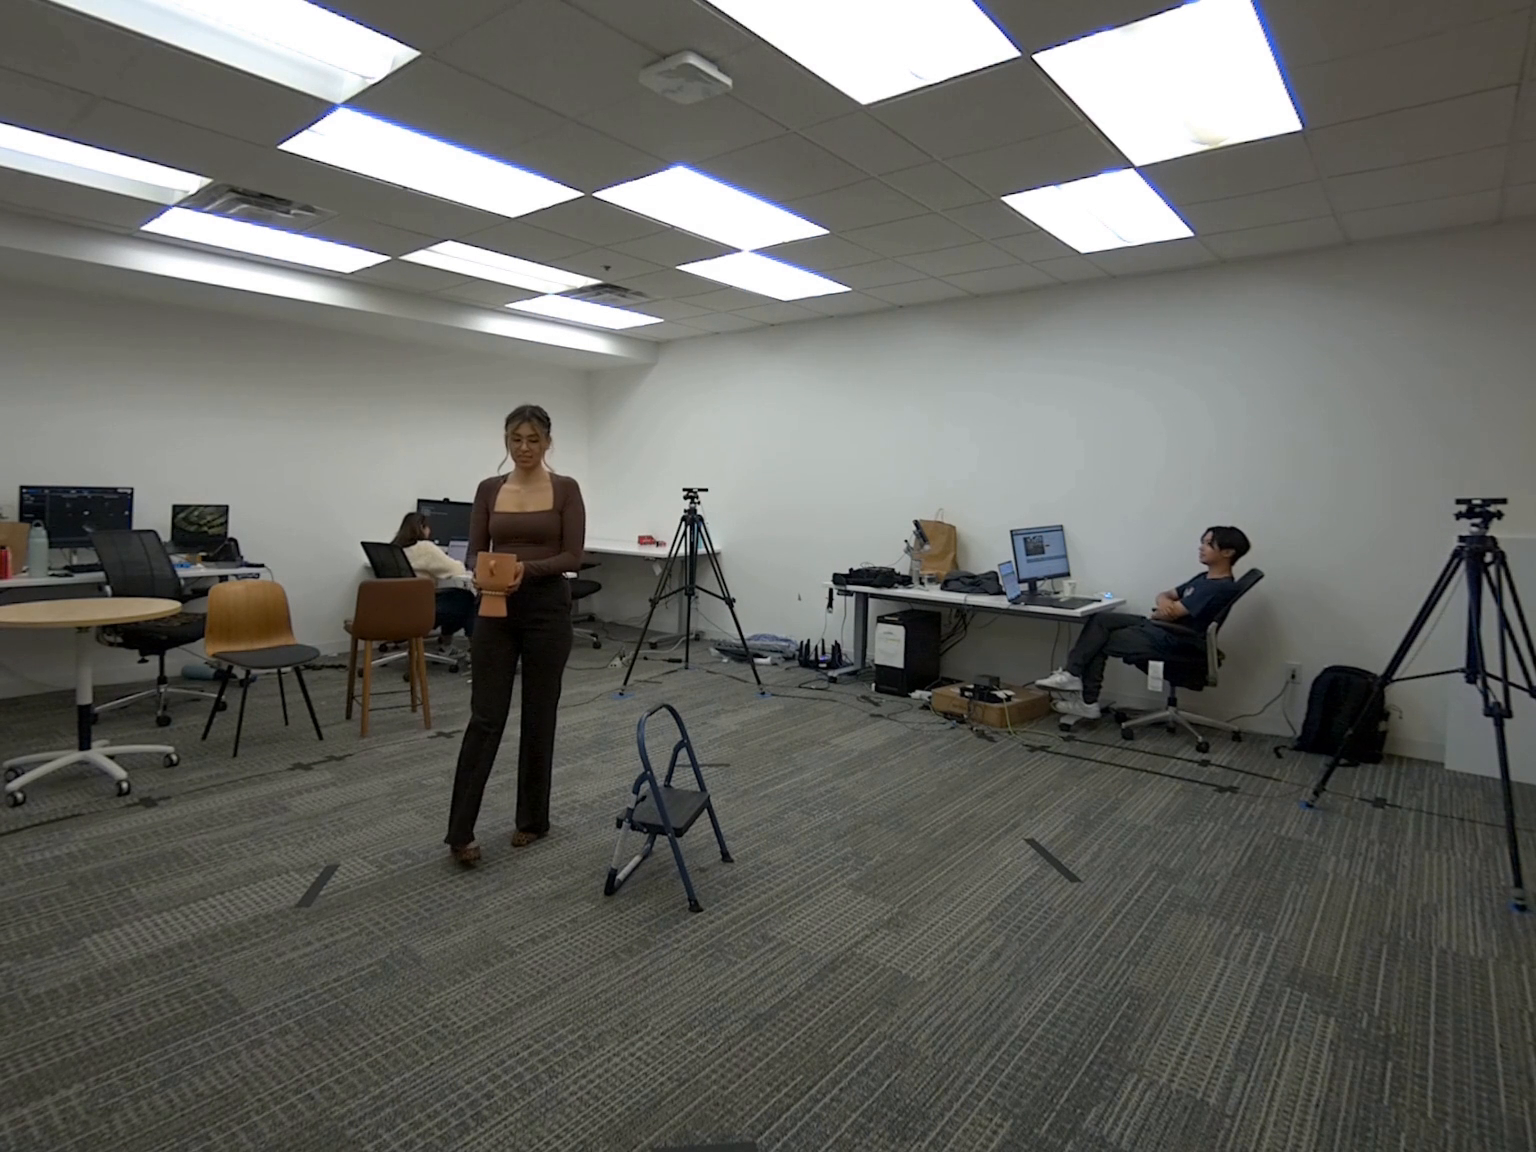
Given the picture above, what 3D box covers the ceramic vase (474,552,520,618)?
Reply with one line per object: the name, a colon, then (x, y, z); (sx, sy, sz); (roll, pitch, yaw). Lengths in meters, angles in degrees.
ceramic vase: (-0.992, 0.026, 3.017); (0.139, 0.219, 0.154); (4, 2, 35)
